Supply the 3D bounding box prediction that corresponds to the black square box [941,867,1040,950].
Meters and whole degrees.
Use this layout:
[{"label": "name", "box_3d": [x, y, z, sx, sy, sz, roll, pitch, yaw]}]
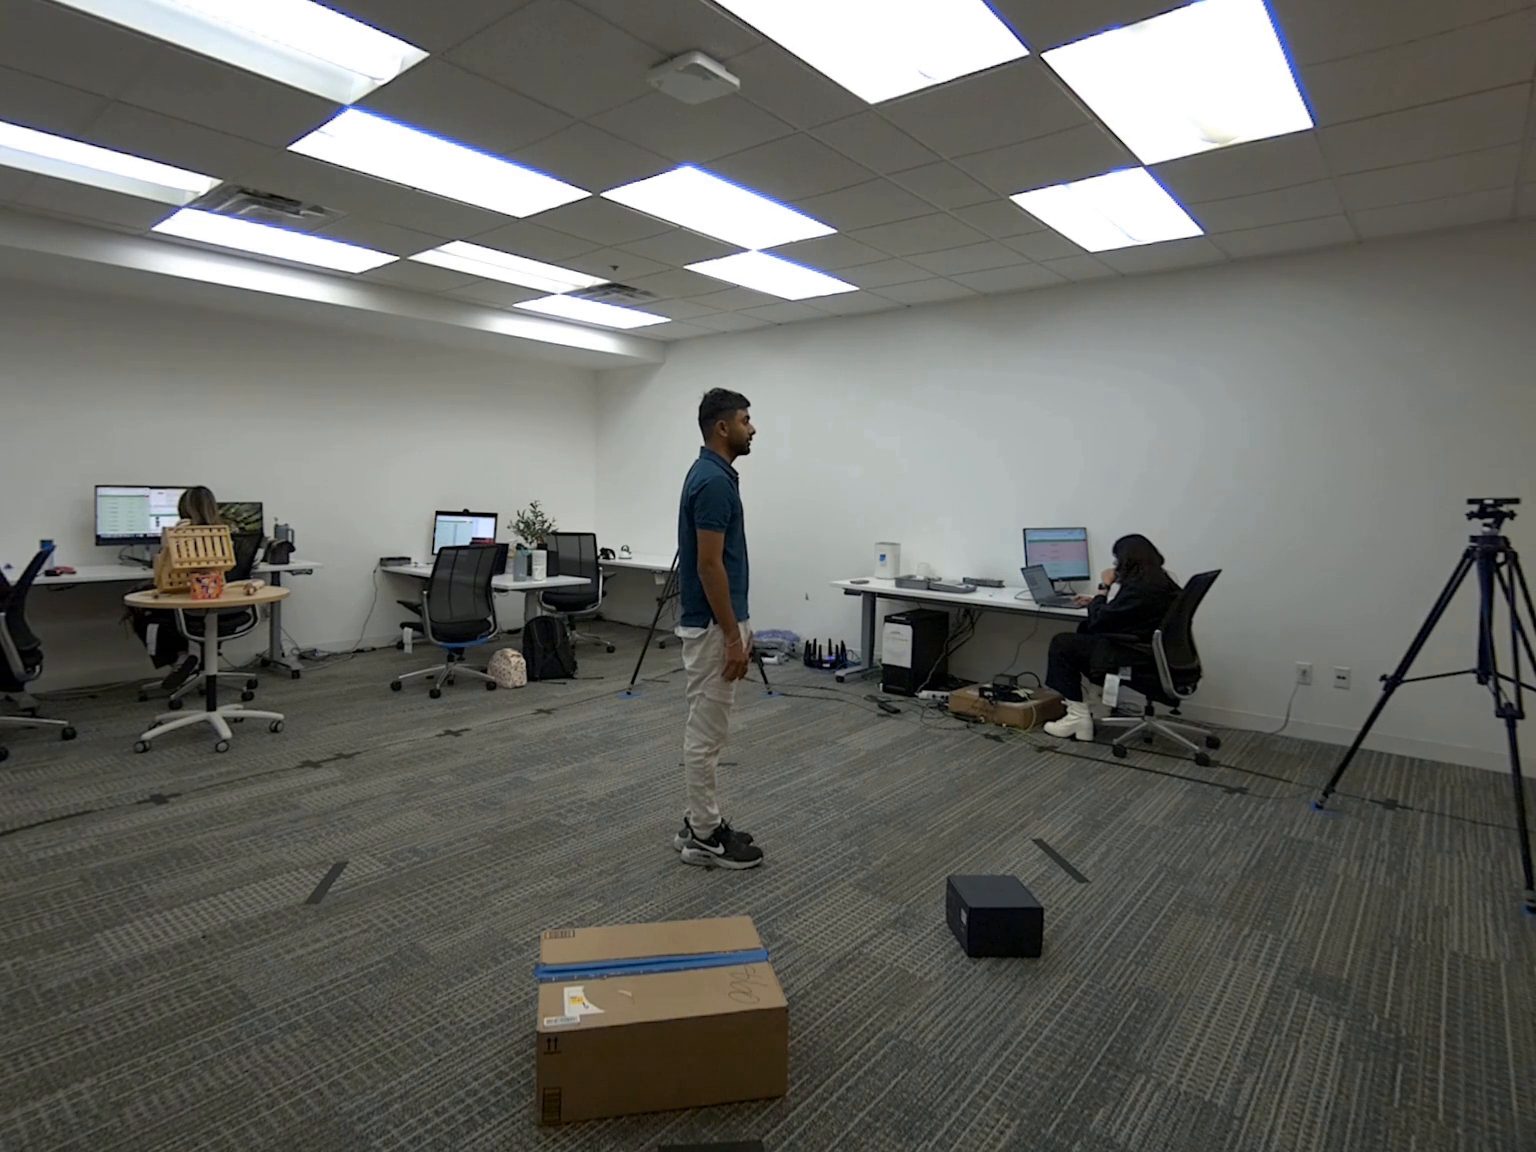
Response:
[{"label": "black square box", "box_3d": [0.697, 1.044, 2.657, 0.227, 0.155, 0.219, 1, 4, -5]}]
